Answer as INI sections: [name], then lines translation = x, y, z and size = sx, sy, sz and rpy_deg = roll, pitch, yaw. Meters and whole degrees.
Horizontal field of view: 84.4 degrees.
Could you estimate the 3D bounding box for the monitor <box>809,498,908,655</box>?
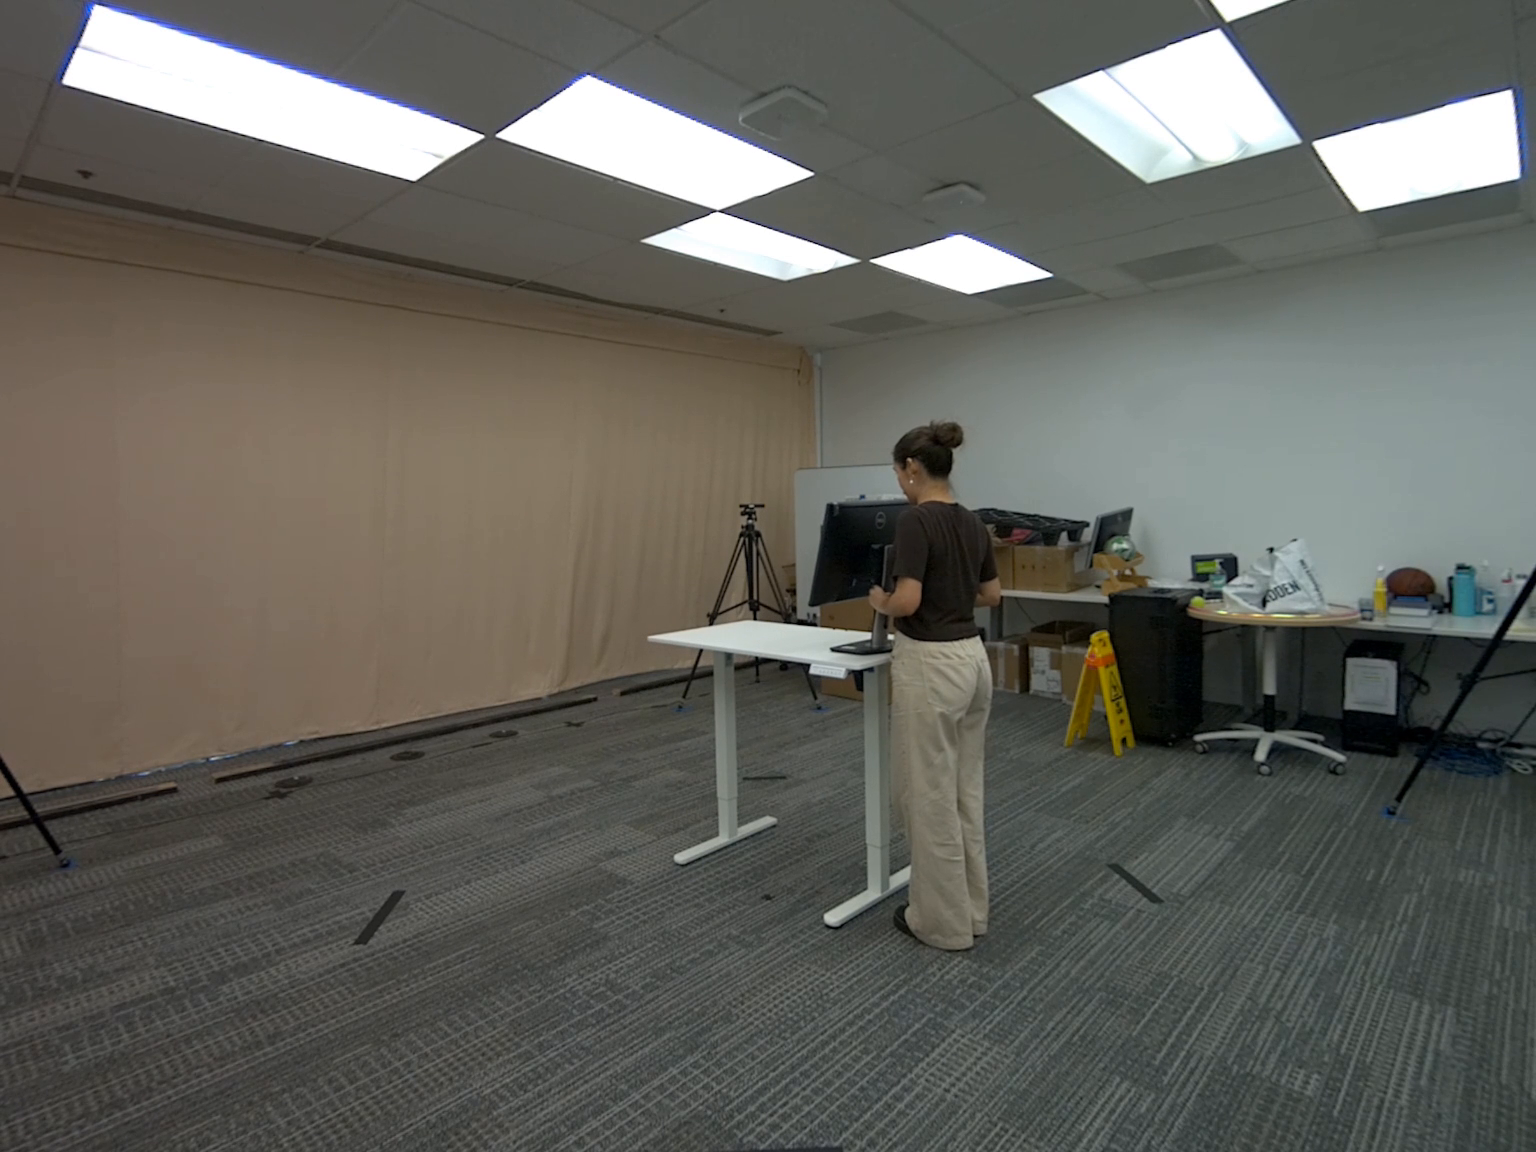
[monitor]
translation = 0.368, -0.003, 2.912
size = 0.180, 0.515, 0.514
rpy_deg = -2, 4, 41
